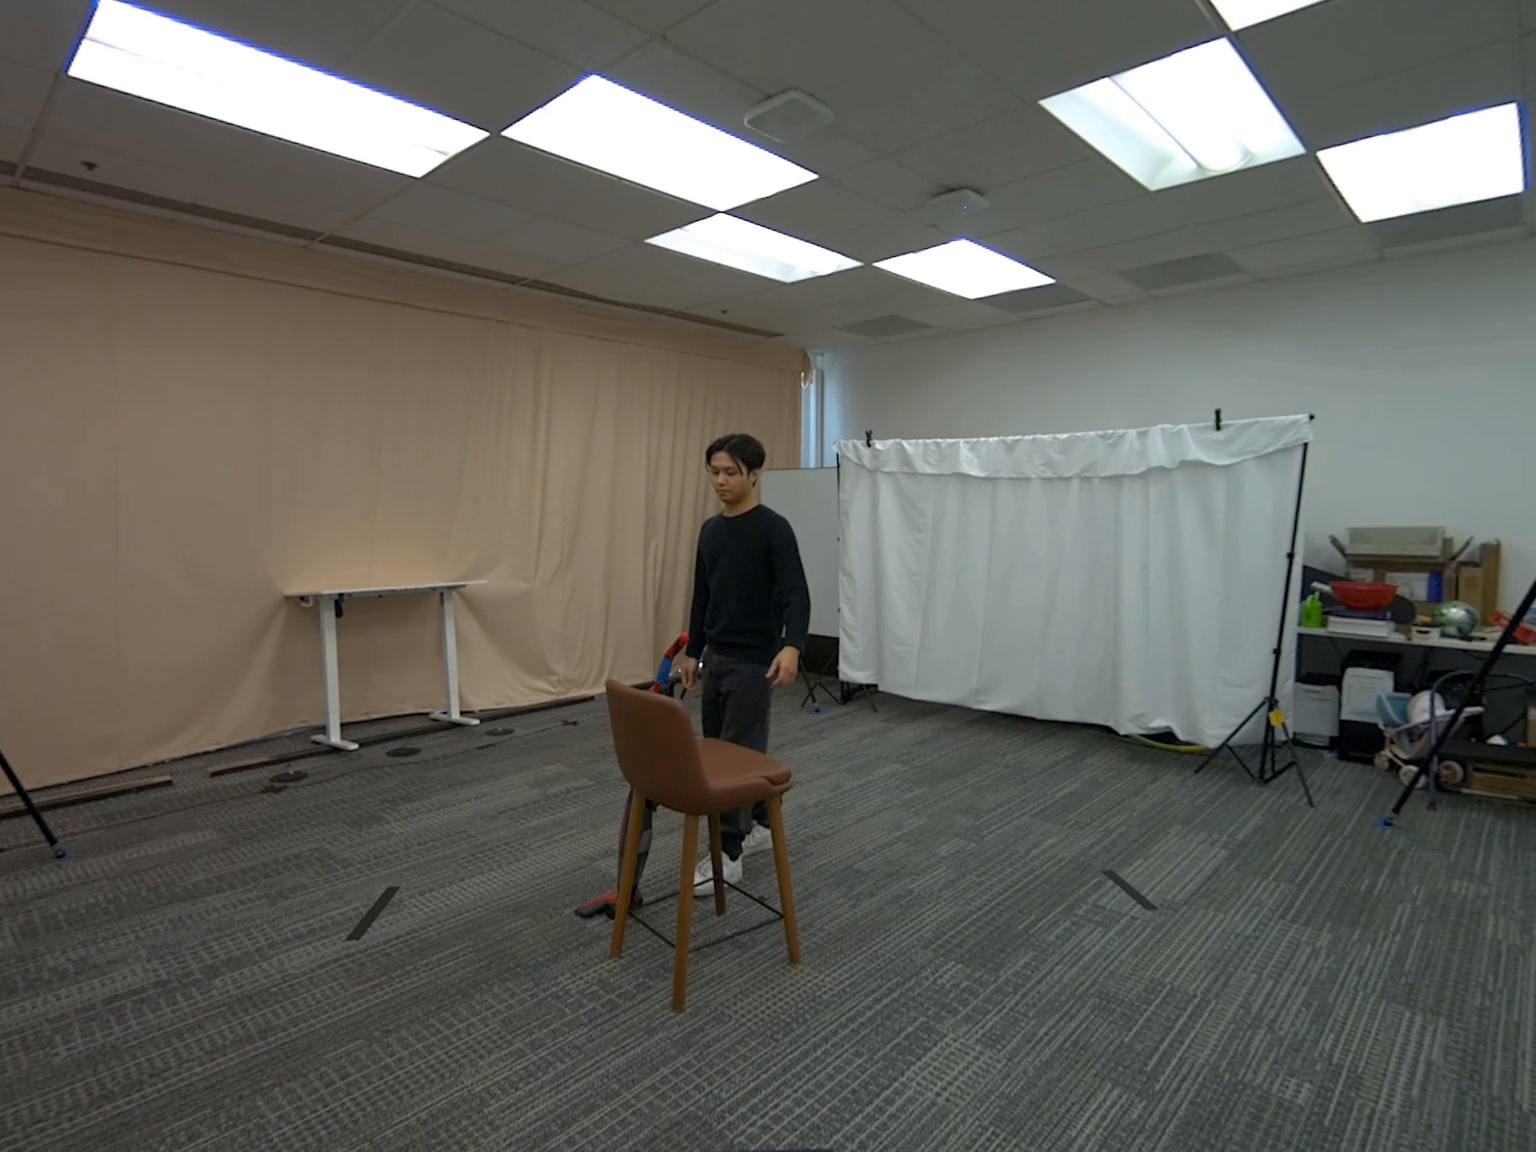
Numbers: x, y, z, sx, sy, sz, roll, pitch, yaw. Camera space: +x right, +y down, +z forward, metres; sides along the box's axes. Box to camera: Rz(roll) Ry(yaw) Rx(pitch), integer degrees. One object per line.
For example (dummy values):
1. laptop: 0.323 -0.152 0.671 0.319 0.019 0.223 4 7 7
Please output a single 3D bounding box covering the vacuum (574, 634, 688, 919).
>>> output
1. vacuum: -0.421 0.680 2.770 0.149 1.043 0.245 27 22 36
